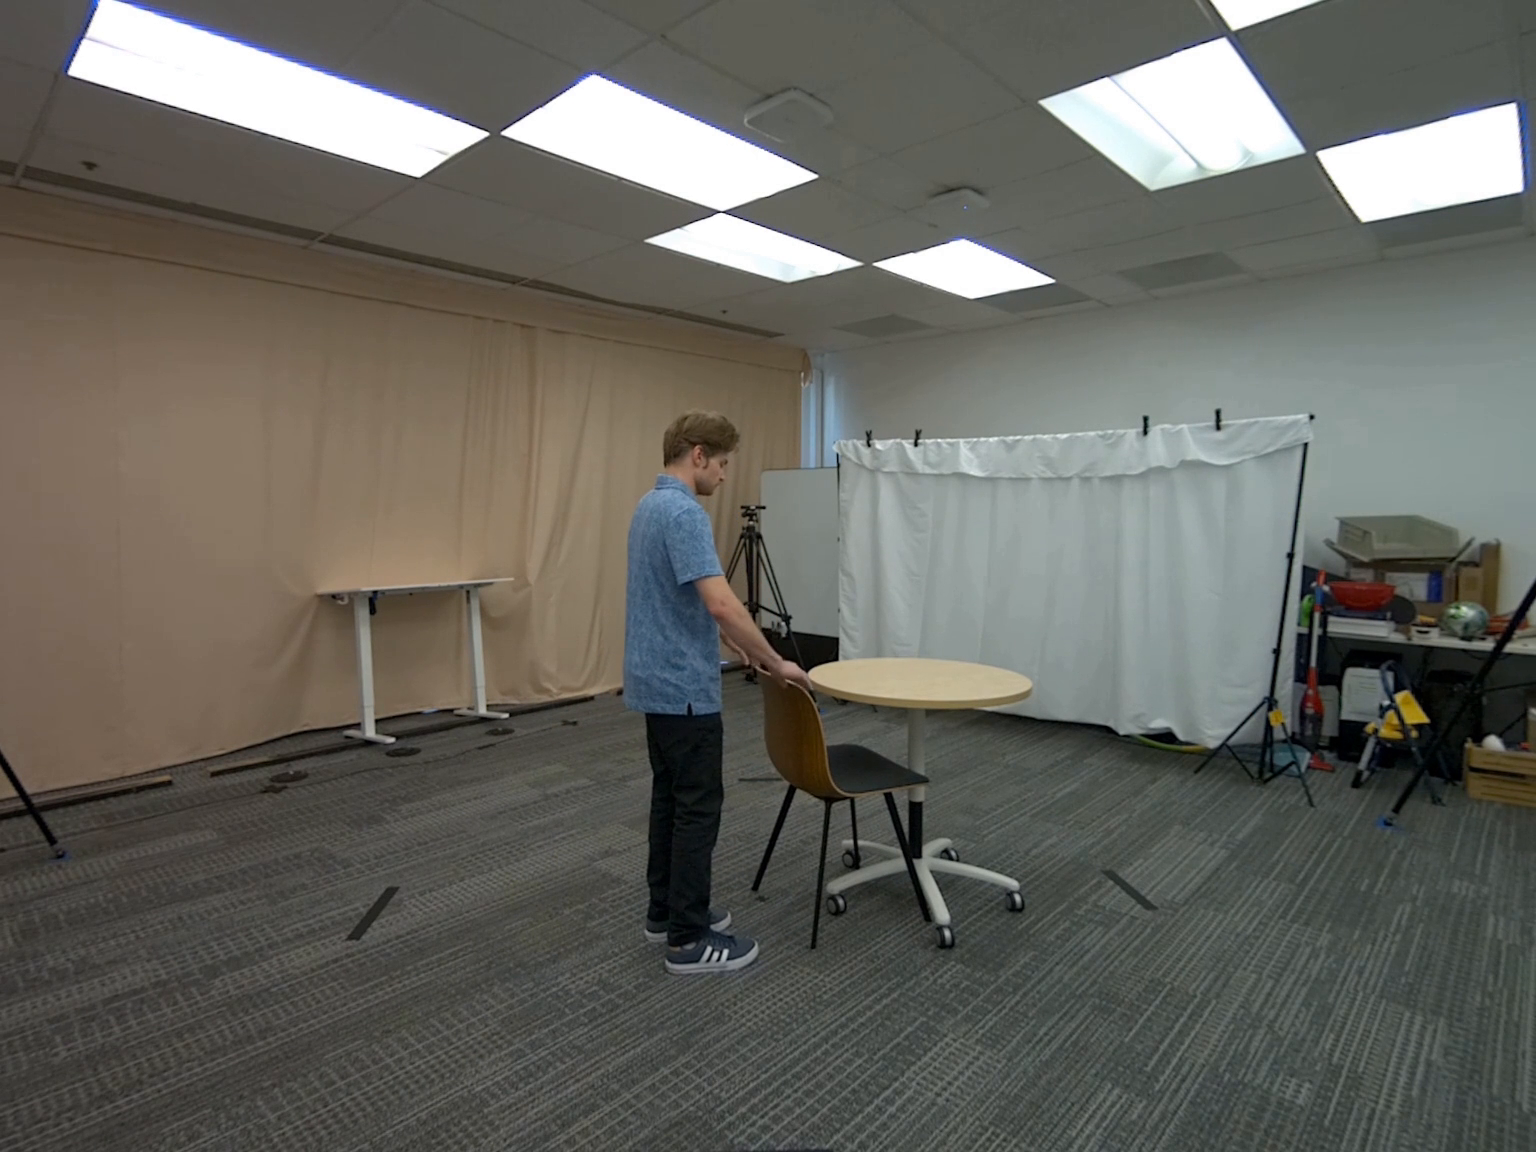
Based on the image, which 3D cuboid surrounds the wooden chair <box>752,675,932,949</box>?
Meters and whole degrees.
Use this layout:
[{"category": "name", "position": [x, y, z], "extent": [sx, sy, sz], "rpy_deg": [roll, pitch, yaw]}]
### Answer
[{"category": "wooden chair", "position": [0.250, 0.721, 2.904], "extent": [0.512, 0.874, 0.490], "rpy_deg": [-6, 5, -24]}]
